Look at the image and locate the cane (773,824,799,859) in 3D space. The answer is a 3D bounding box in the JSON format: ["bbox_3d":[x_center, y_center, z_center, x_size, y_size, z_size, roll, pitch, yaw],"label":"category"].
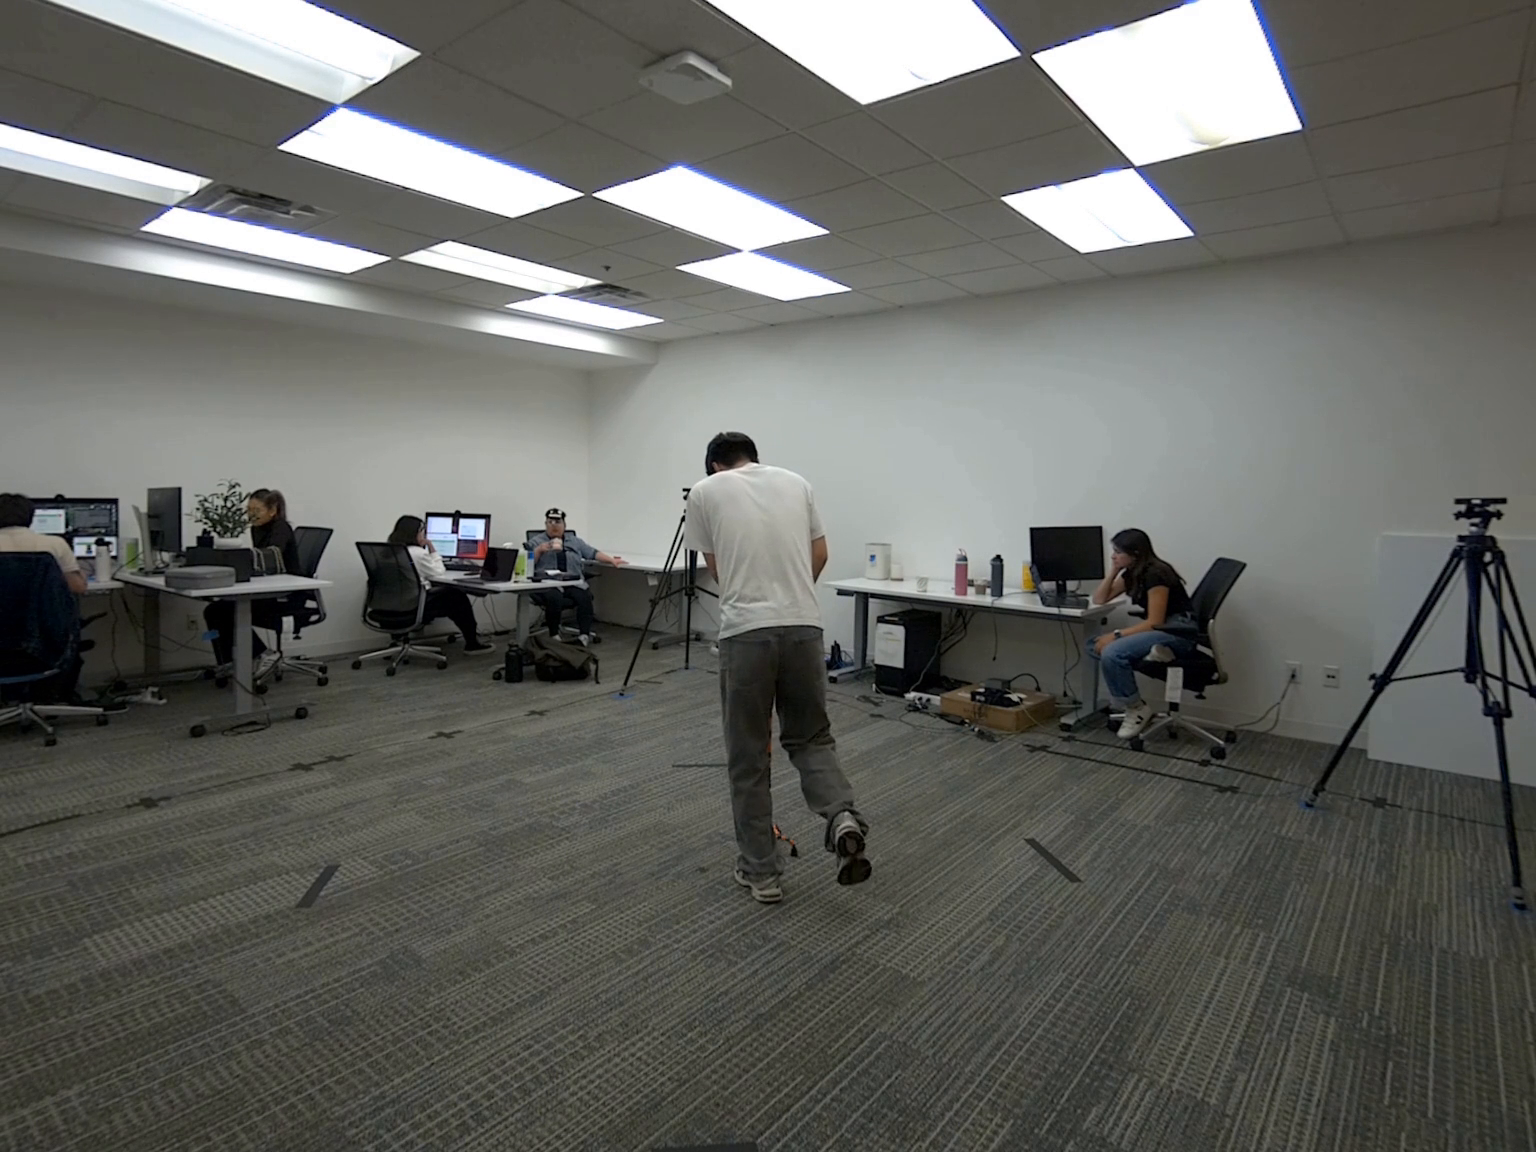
[{"bbox_3d":[0.019,0.596,3.284,0.148,0.904,0.211,-1,4,-21],"label":"cane"}]
